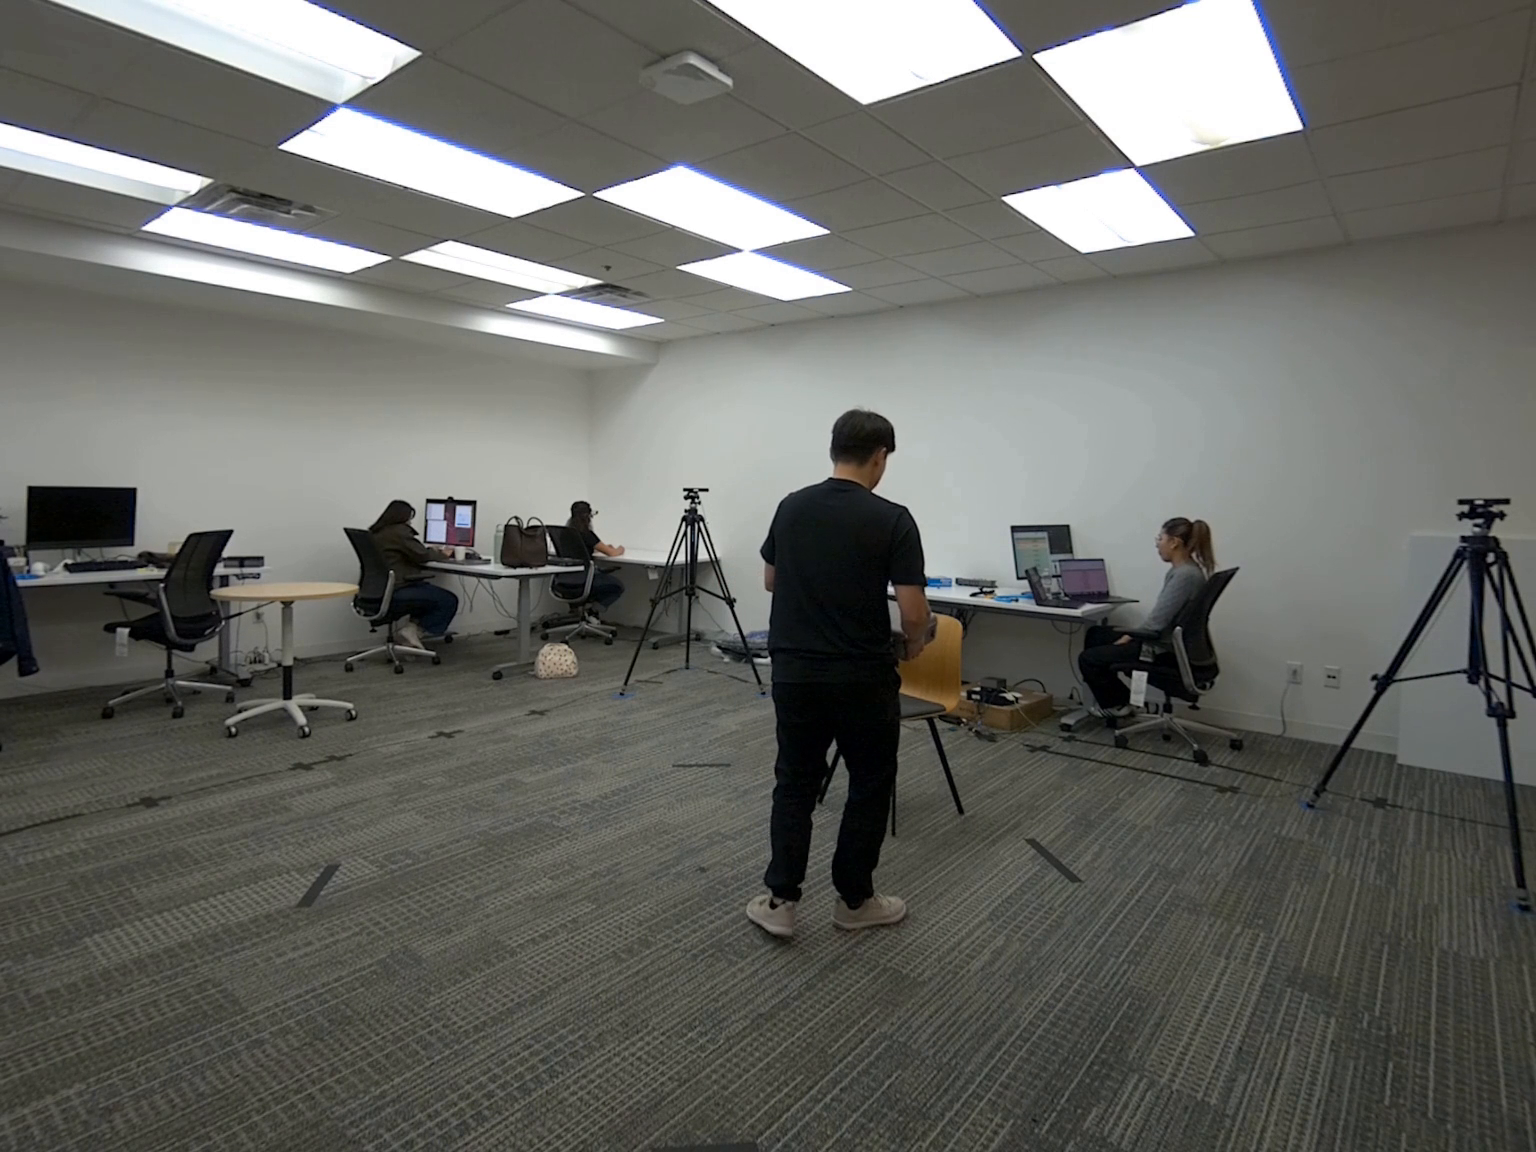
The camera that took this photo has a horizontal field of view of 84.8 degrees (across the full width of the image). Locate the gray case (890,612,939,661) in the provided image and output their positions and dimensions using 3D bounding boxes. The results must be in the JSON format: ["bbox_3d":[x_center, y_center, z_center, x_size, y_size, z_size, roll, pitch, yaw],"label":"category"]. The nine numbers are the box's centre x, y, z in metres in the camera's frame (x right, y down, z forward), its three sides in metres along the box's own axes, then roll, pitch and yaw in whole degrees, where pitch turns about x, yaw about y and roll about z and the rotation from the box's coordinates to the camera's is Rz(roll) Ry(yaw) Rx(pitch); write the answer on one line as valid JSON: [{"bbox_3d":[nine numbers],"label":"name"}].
[{"bbox_3d":[0.446,0.162,2.903,0.254,0.103,0.266,-14,17,-41],"label":"gray case"}]
